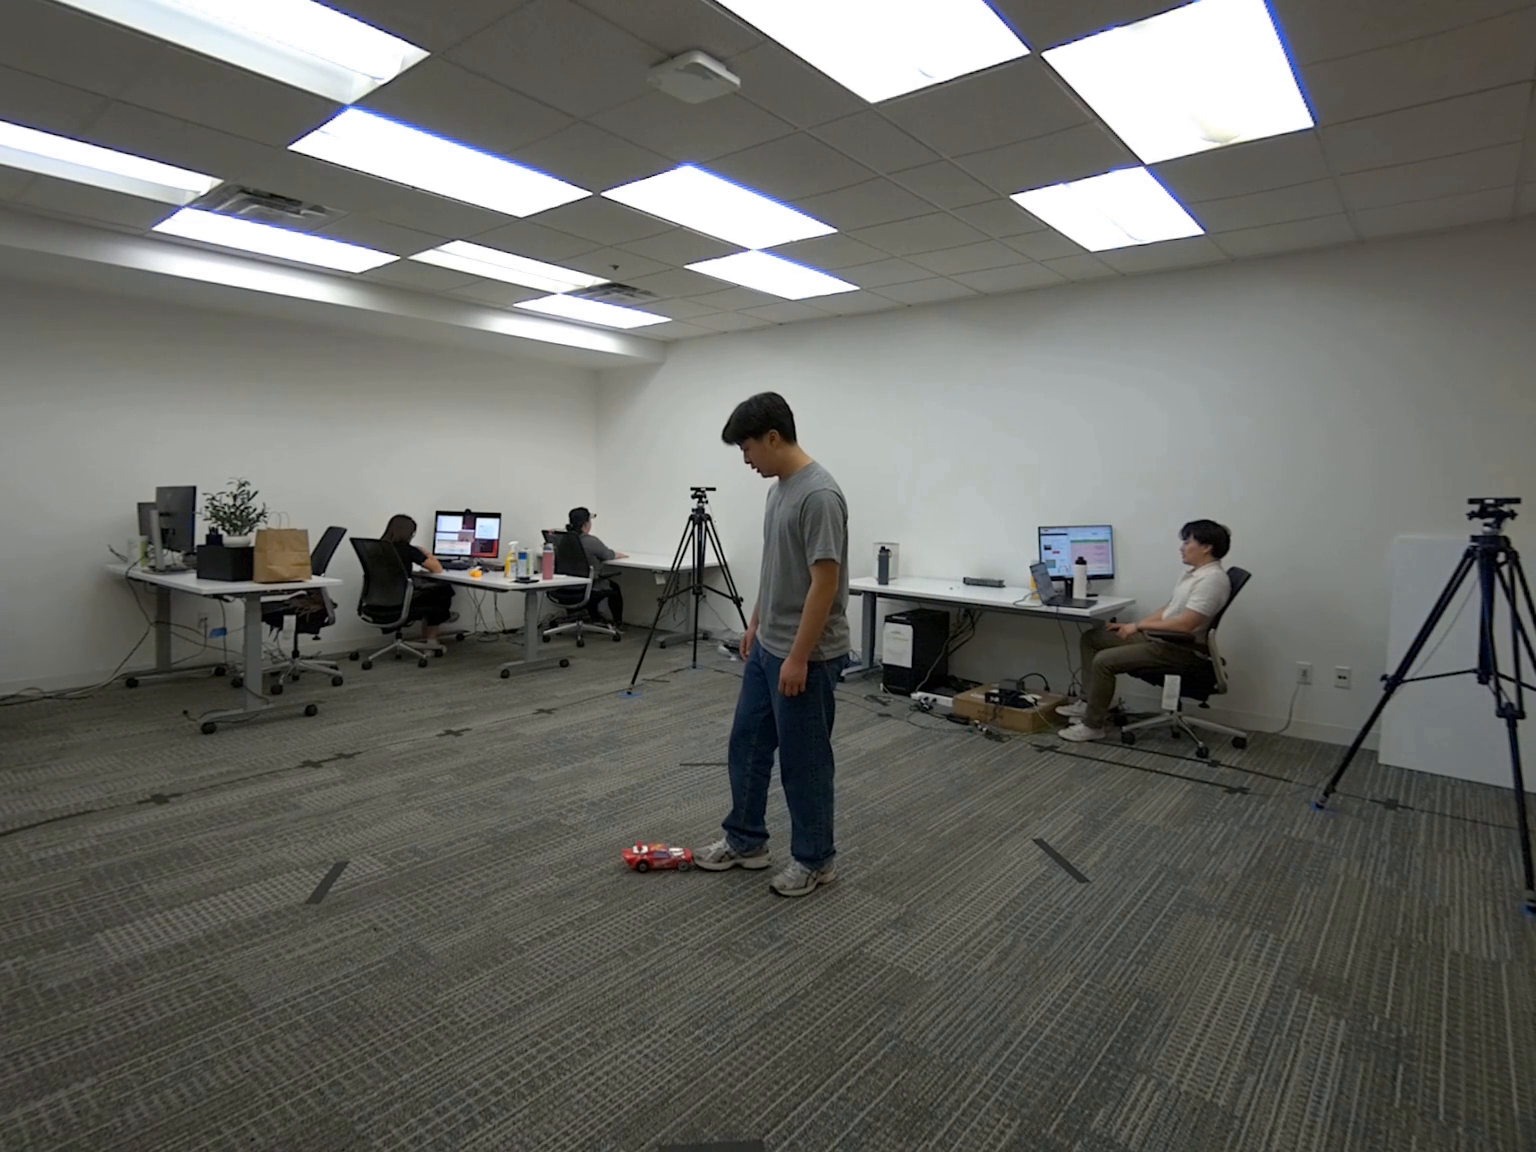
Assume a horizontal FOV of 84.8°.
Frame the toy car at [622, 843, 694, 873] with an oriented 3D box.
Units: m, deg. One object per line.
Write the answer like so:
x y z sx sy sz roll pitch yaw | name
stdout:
-0.417 1.030 3.121 0.252 0.083 0.132 11 2 -8 | toy car
